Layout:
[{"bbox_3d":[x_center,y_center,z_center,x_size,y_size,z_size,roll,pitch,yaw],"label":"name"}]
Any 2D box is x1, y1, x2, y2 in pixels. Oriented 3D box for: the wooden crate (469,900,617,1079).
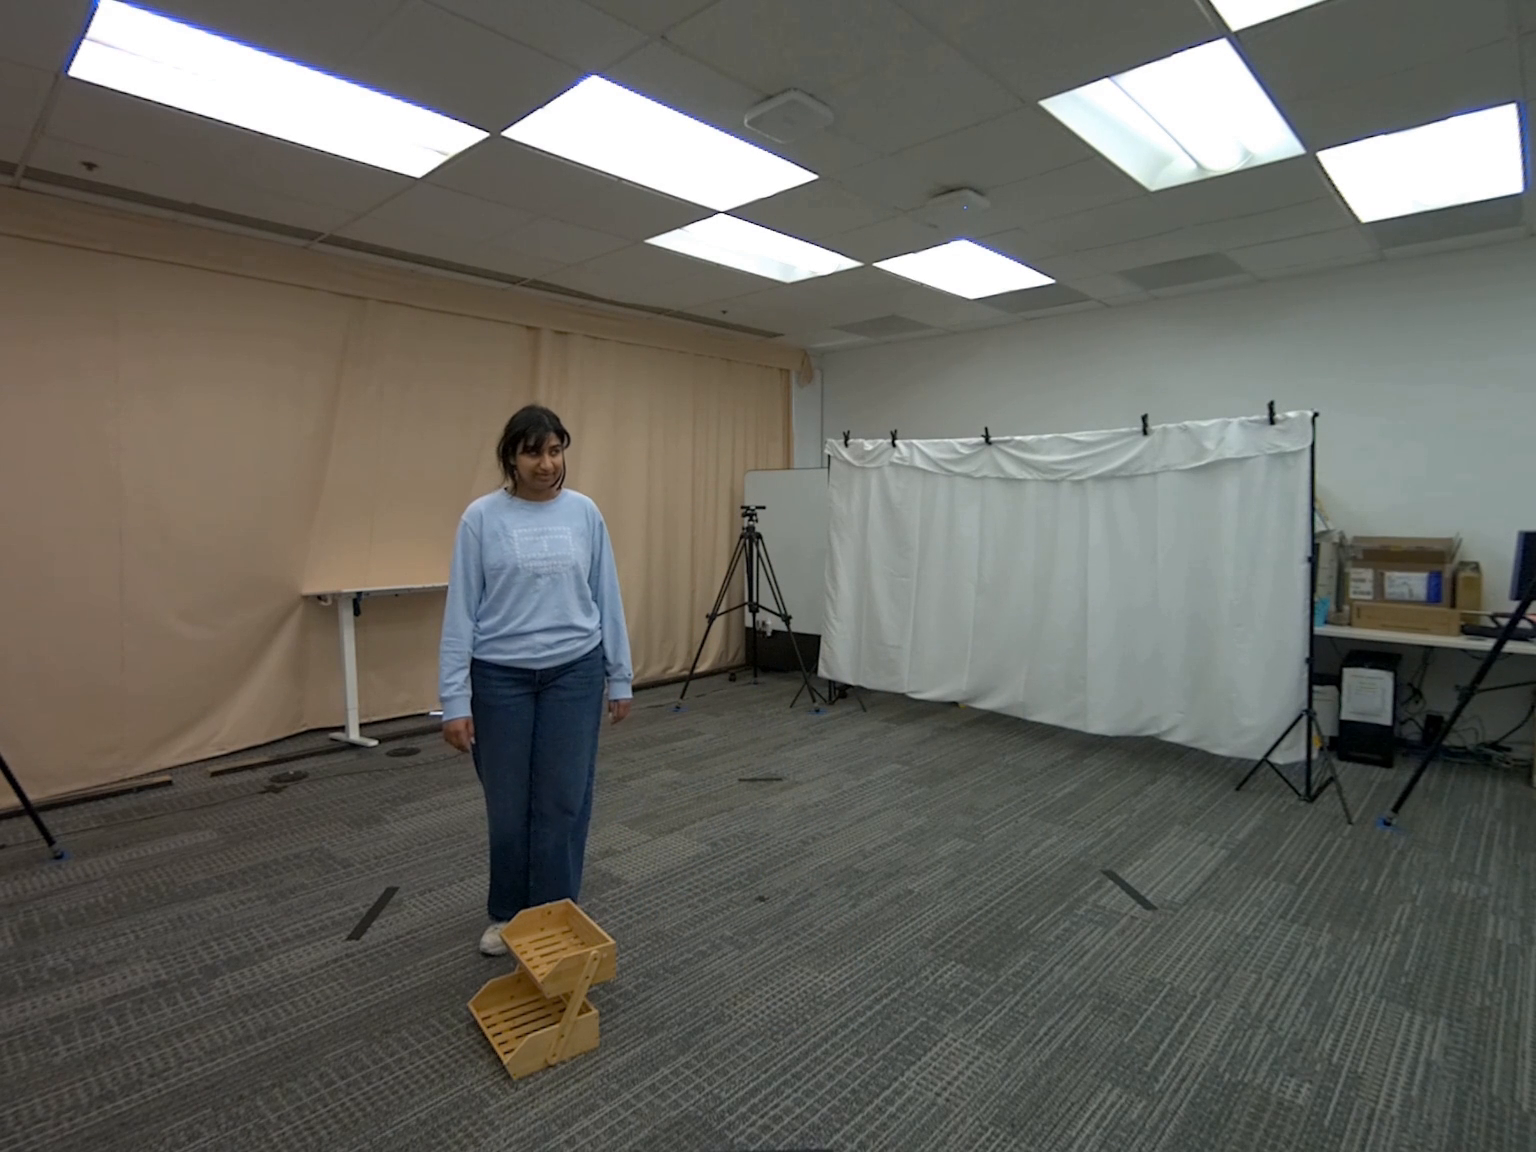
[{"bbox_3d":[-0.610,1.081,2.225,0.293,0.273,0.335,-3,4,-36],"label":"wooden crate"}]
